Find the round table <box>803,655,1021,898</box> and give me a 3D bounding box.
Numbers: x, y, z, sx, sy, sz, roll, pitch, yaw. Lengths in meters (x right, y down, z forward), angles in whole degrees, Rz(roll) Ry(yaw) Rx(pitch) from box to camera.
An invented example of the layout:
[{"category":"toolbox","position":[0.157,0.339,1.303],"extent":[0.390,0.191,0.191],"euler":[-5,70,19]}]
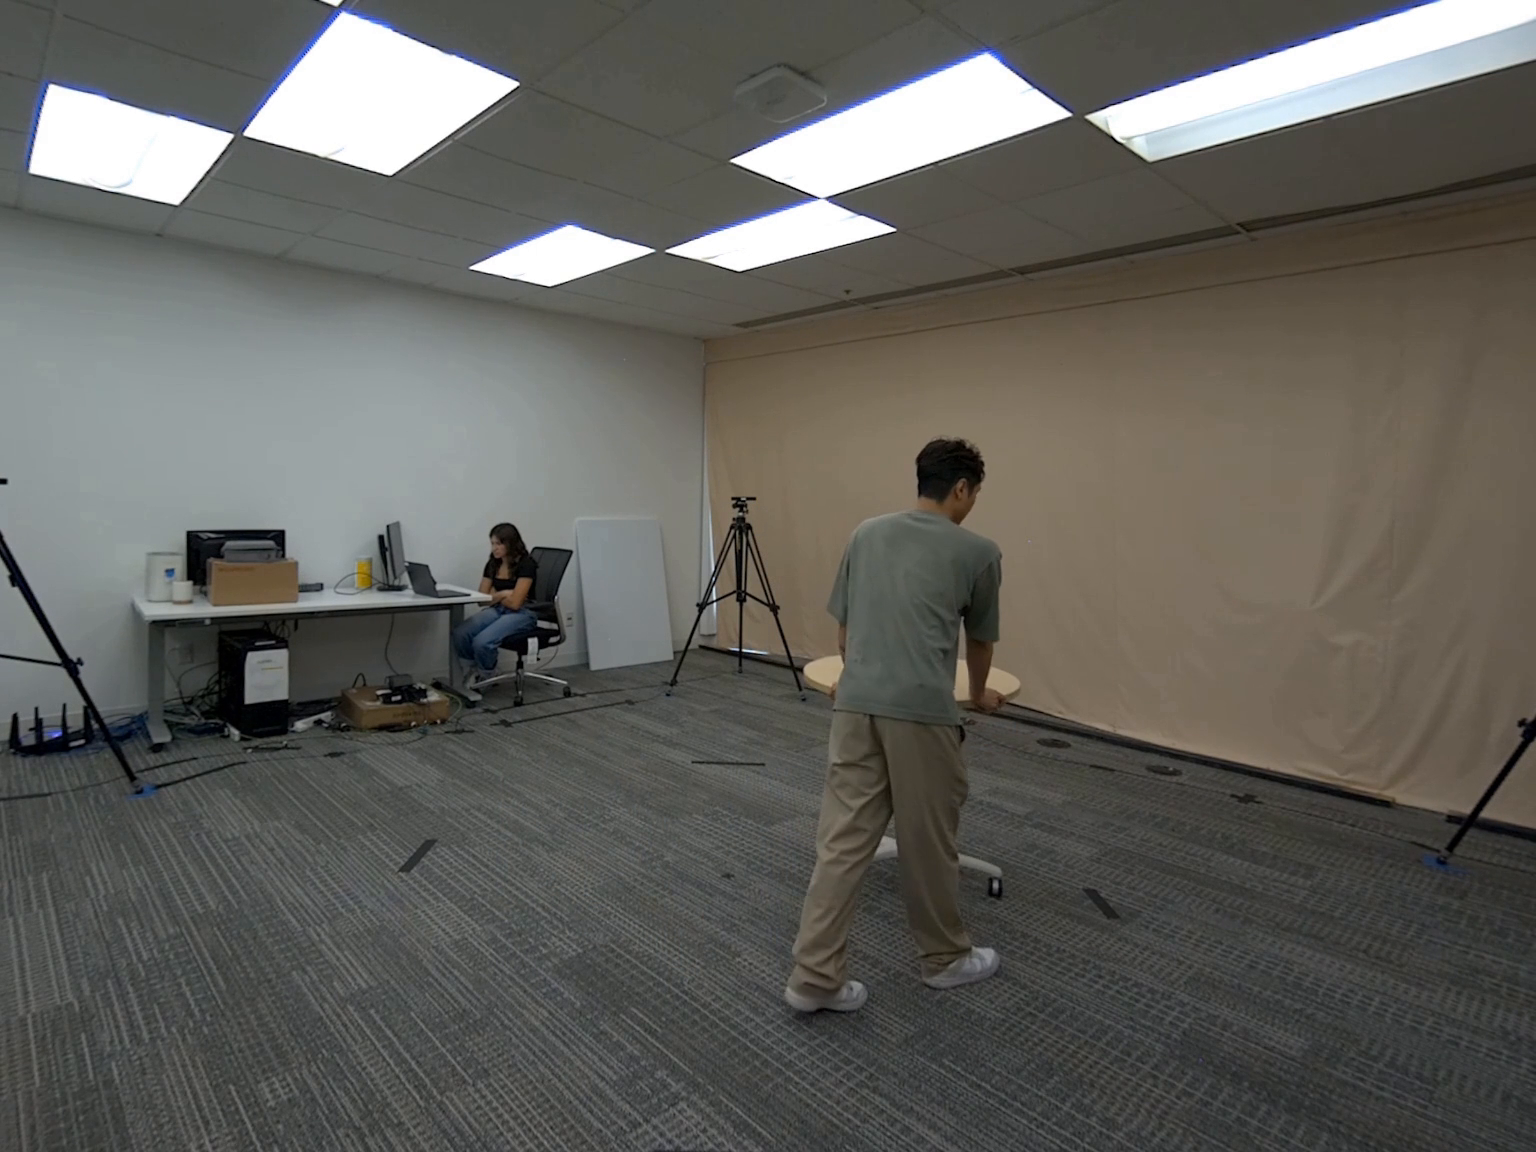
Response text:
[{"category":"round table","position":[0.508,0.741,3.082],"extent":[0.784,0.784,0.788],"euler":[2,5,-2]}]
